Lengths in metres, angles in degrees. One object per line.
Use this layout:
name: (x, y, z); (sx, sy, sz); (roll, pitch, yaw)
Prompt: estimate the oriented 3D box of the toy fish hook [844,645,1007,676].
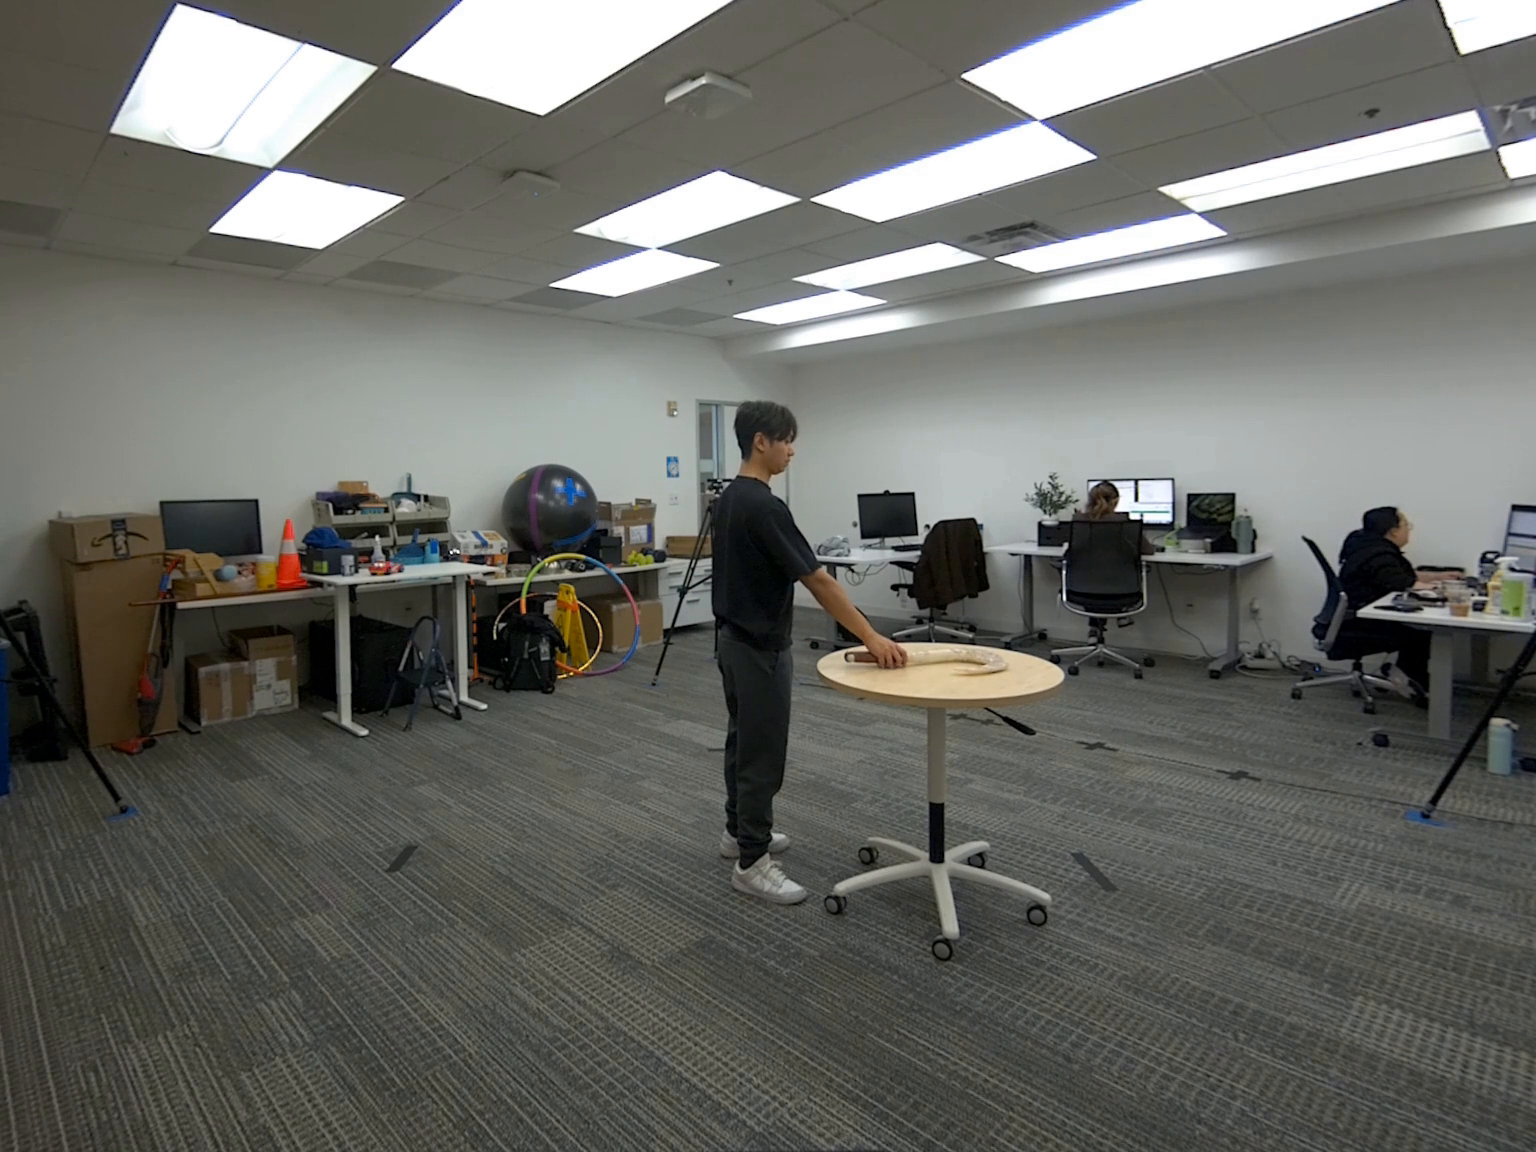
toy fish hook: (0.510, 0.269, 2.712); (0.504, 0.048, 0.226); (0, 4, -5)
